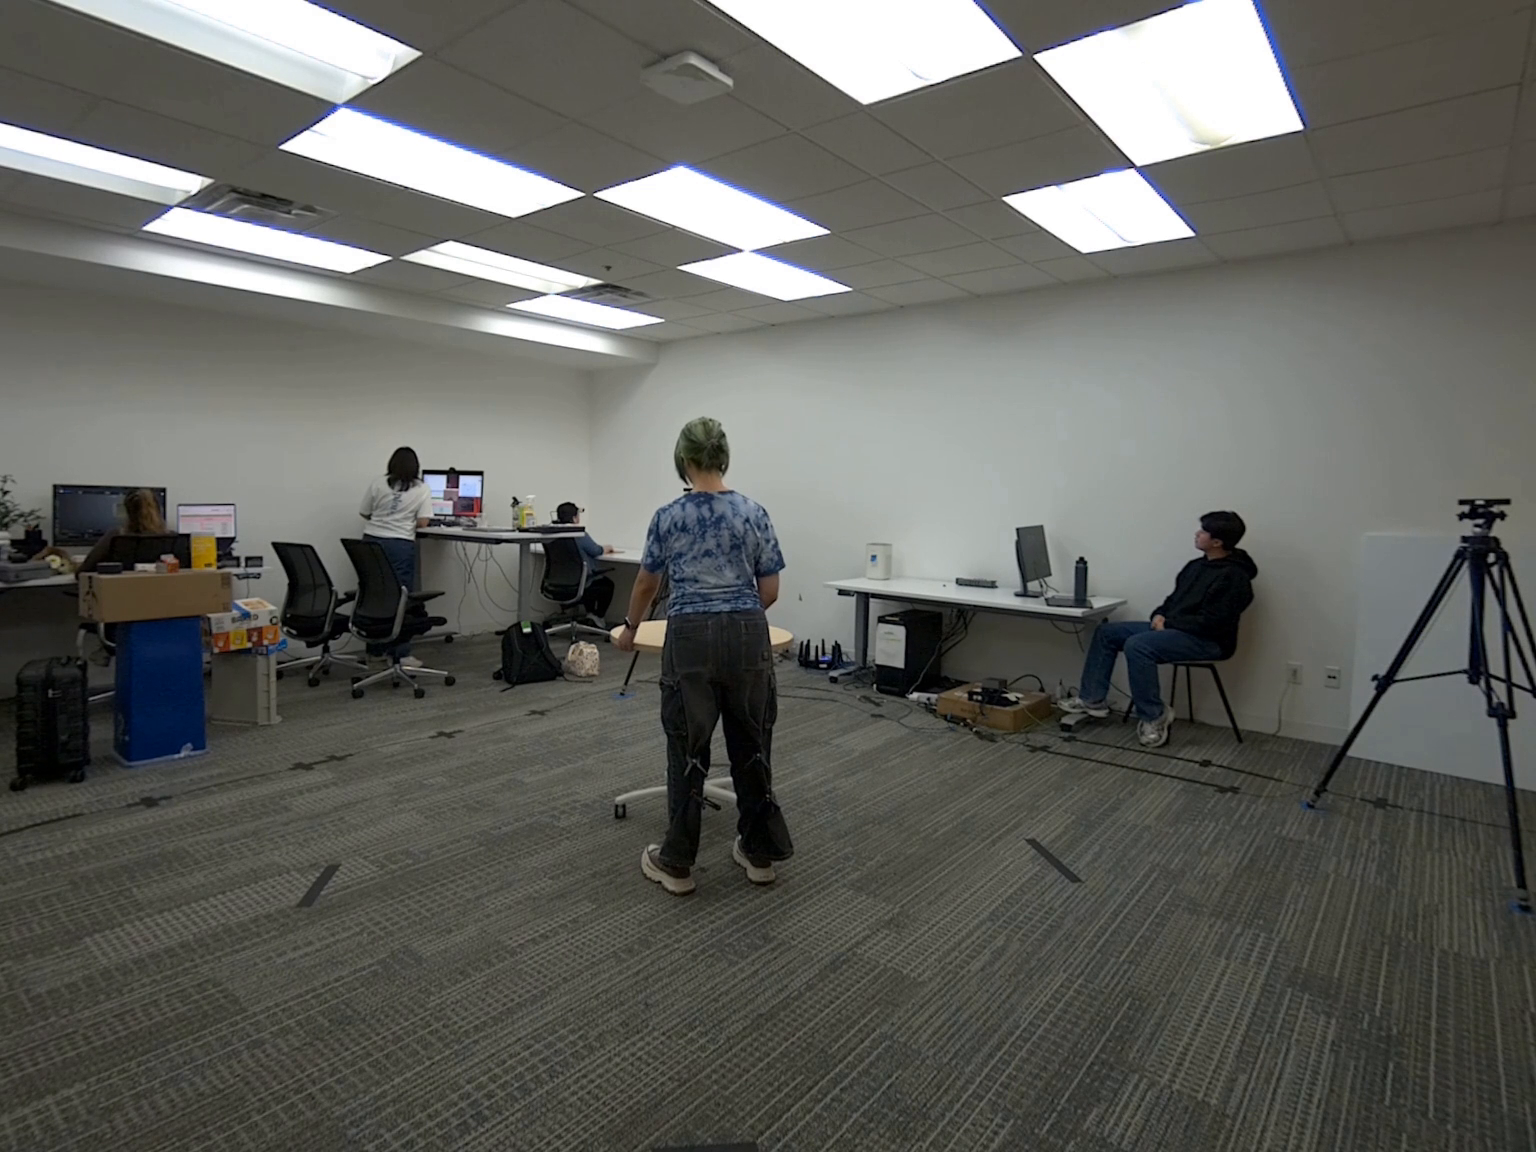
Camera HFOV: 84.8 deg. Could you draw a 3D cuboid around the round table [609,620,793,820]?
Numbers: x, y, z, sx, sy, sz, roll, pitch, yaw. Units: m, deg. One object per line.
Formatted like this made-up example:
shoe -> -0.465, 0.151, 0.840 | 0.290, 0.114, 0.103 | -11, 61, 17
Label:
round table -> -0.308, 0.628, 3.598 | 0.763, 0.792, 0.767 | 1, 4, -2
